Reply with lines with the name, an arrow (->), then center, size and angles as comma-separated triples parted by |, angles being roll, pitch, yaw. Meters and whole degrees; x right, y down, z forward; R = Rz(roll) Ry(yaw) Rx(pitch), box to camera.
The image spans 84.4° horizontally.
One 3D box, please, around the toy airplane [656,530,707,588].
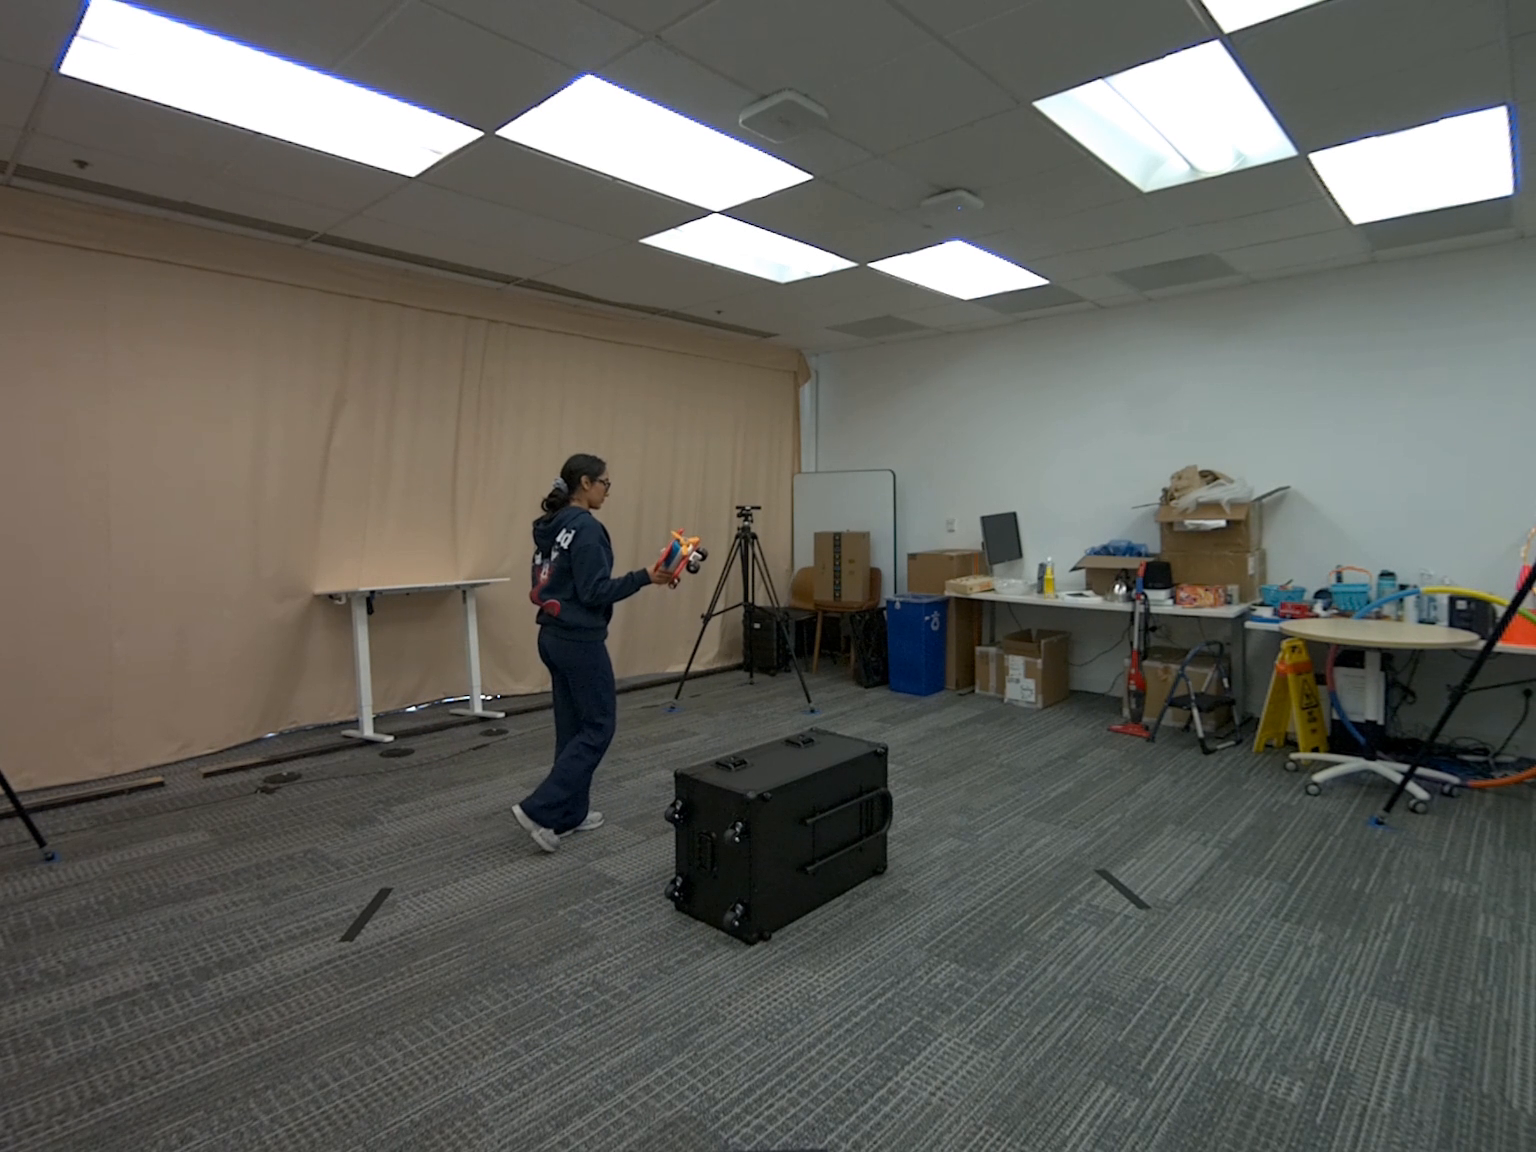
toy airplane -> -0.360, -0.045, 3.376 | 0.154, 0.260, 0.253 | 43, 13, -13
